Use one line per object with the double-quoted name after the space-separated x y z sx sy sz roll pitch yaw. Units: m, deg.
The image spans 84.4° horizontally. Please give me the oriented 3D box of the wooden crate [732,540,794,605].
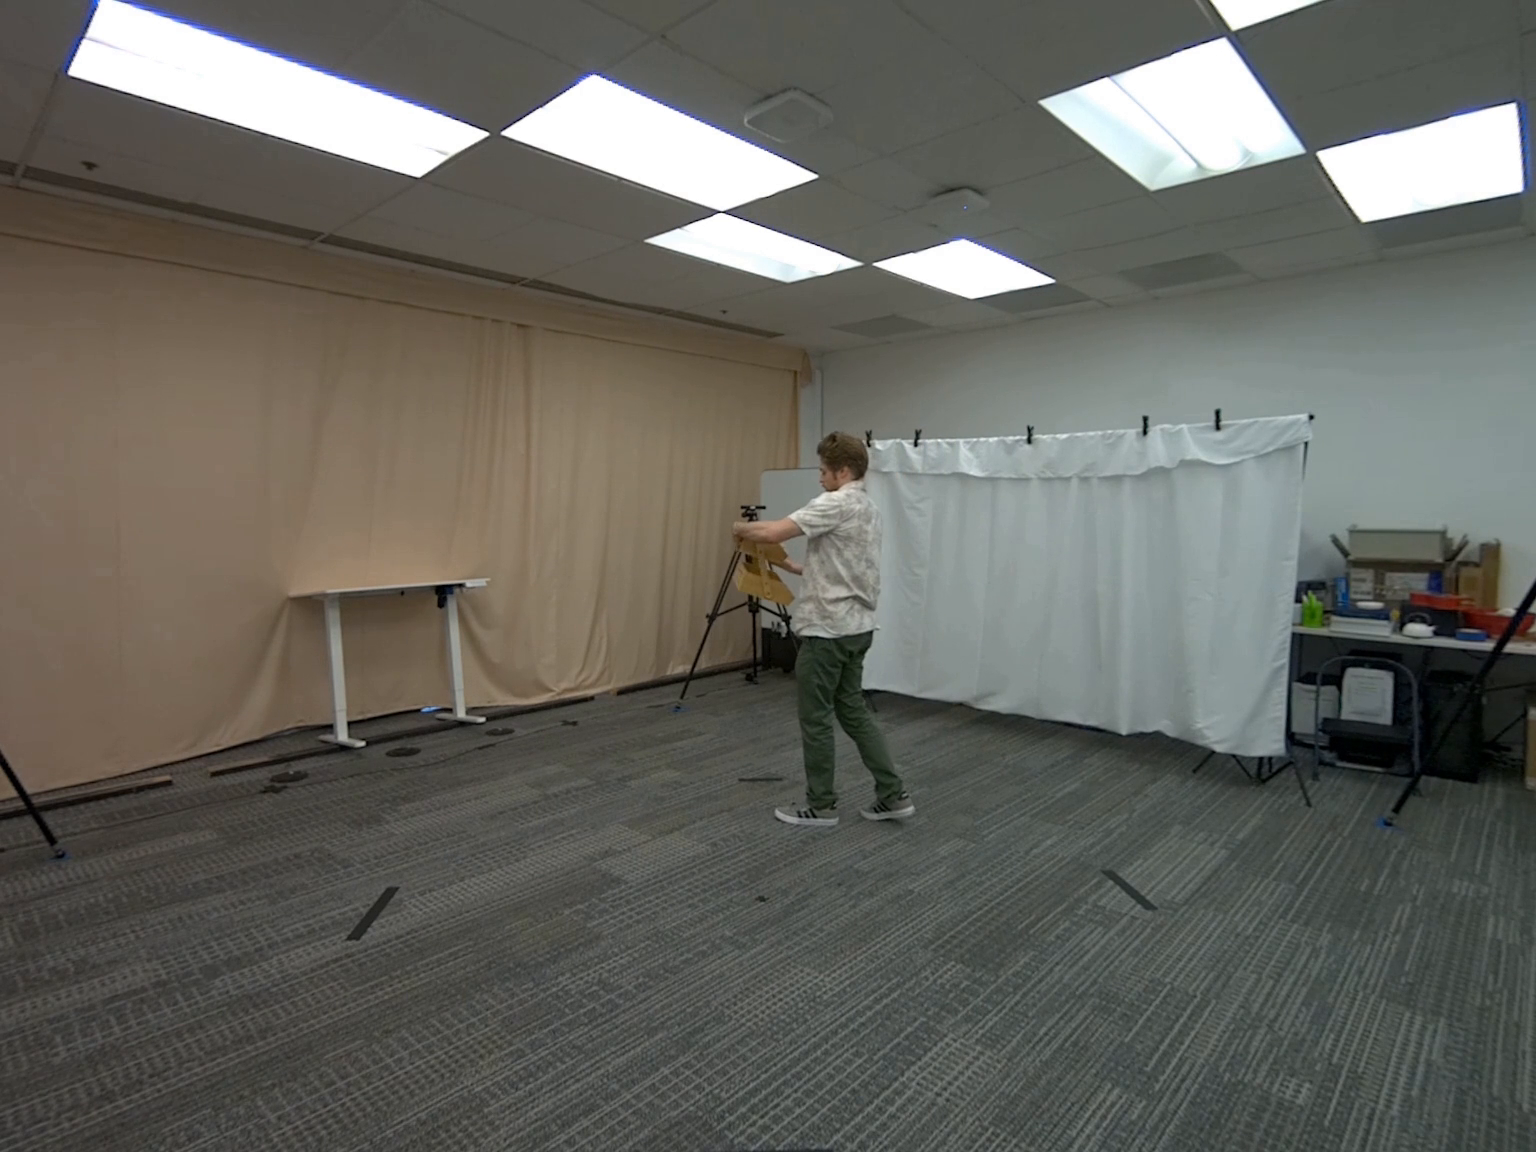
-0.005 -0.060 3.875 0.298 0.272 0.330 15 10 -13 "wooden crate"
